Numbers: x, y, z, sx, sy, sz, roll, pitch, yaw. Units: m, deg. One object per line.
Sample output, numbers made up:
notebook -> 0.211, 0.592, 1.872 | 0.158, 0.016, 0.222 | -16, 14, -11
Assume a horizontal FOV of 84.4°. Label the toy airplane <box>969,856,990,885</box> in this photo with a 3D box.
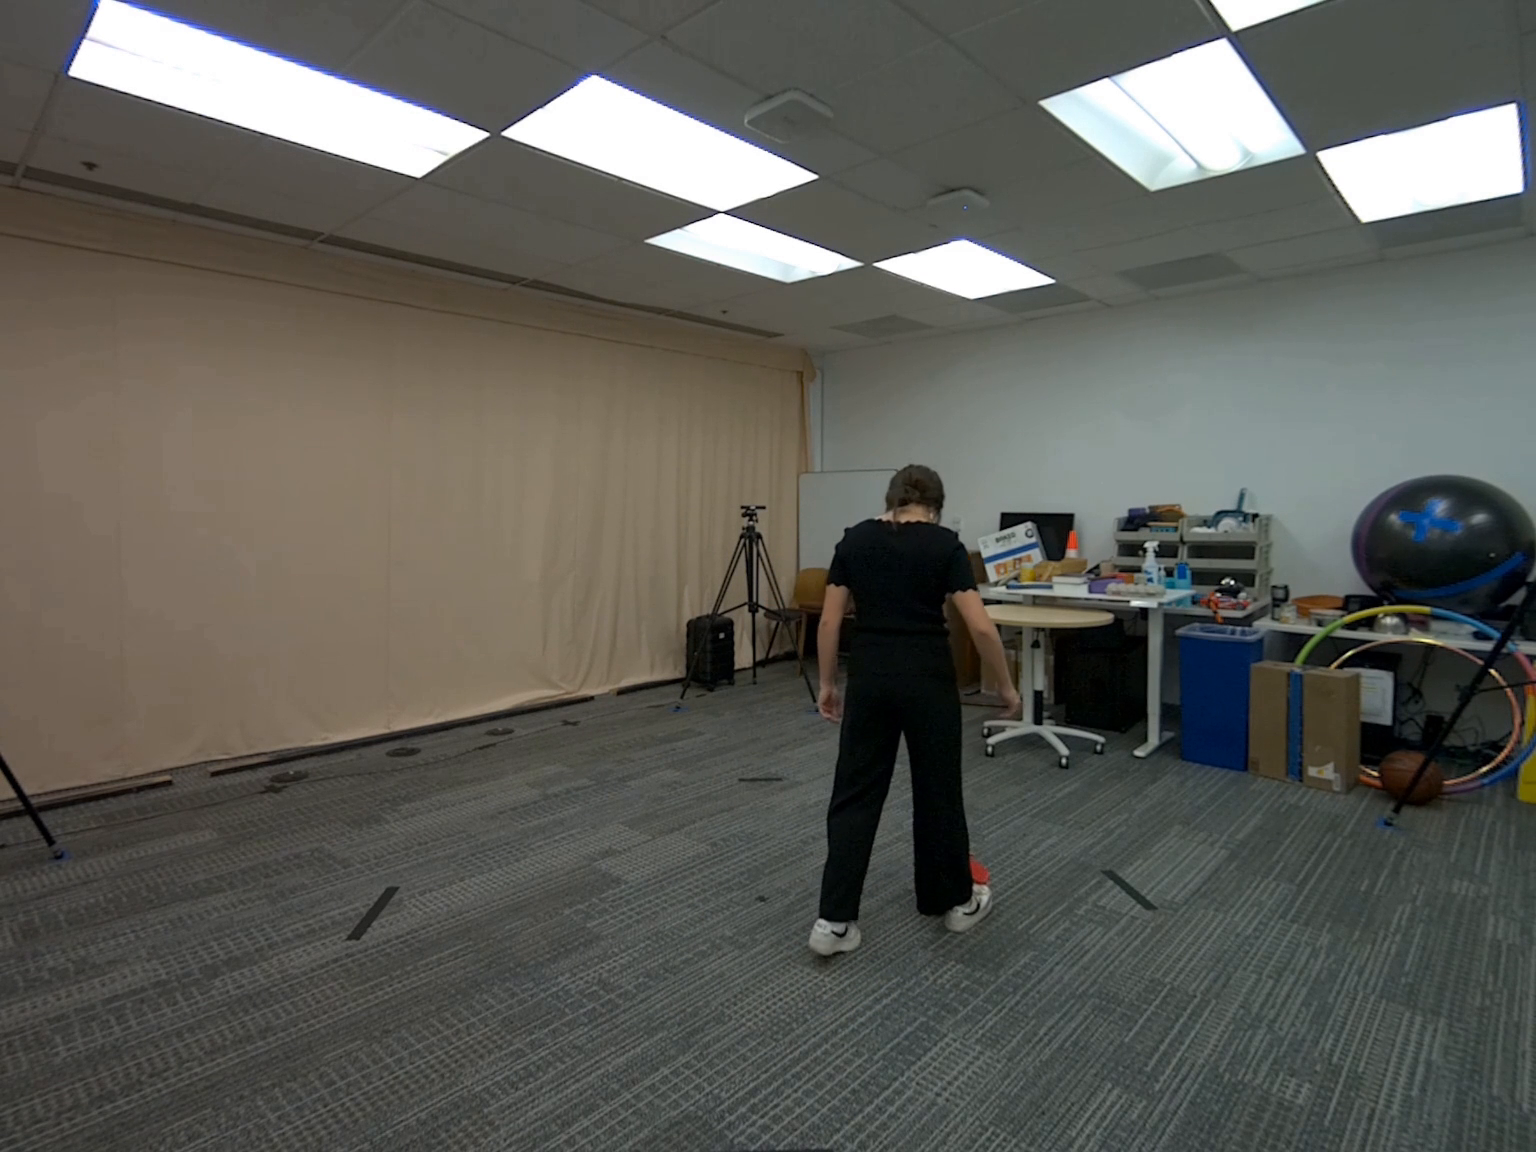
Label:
toy airplane -> 0.647, 1.070, 2.949 | 0.249, 0.156, 0.262 | 14, 15, -6
